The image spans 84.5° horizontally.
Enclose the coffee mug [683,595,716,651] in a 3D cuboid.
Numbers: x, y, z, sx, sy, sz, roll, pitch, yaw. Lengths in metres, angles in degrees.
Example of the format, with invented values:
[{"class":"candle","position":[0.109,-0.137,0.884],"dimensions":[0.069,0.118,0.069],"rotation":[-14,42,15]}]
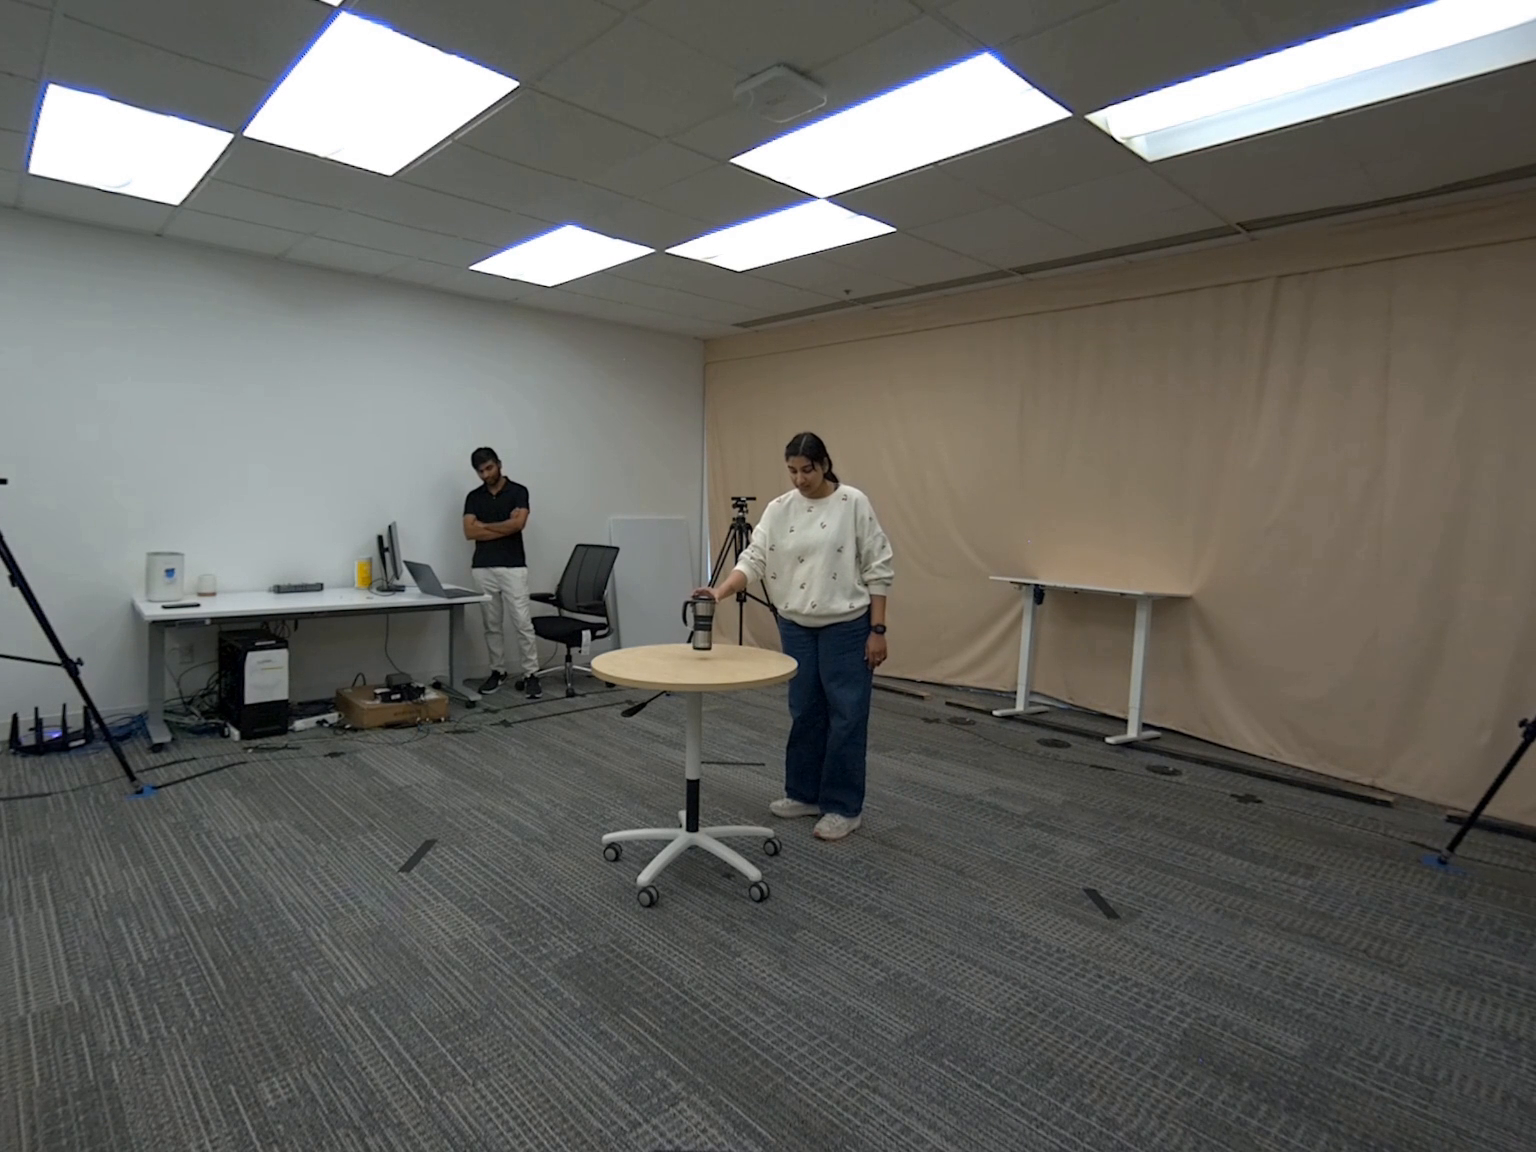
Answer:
[{"class":"coffee mug","position":[-0.269,0.179,3.203],"dimensions":[0.125,0.202,0.086],"rotation":[6,4,41]}]
